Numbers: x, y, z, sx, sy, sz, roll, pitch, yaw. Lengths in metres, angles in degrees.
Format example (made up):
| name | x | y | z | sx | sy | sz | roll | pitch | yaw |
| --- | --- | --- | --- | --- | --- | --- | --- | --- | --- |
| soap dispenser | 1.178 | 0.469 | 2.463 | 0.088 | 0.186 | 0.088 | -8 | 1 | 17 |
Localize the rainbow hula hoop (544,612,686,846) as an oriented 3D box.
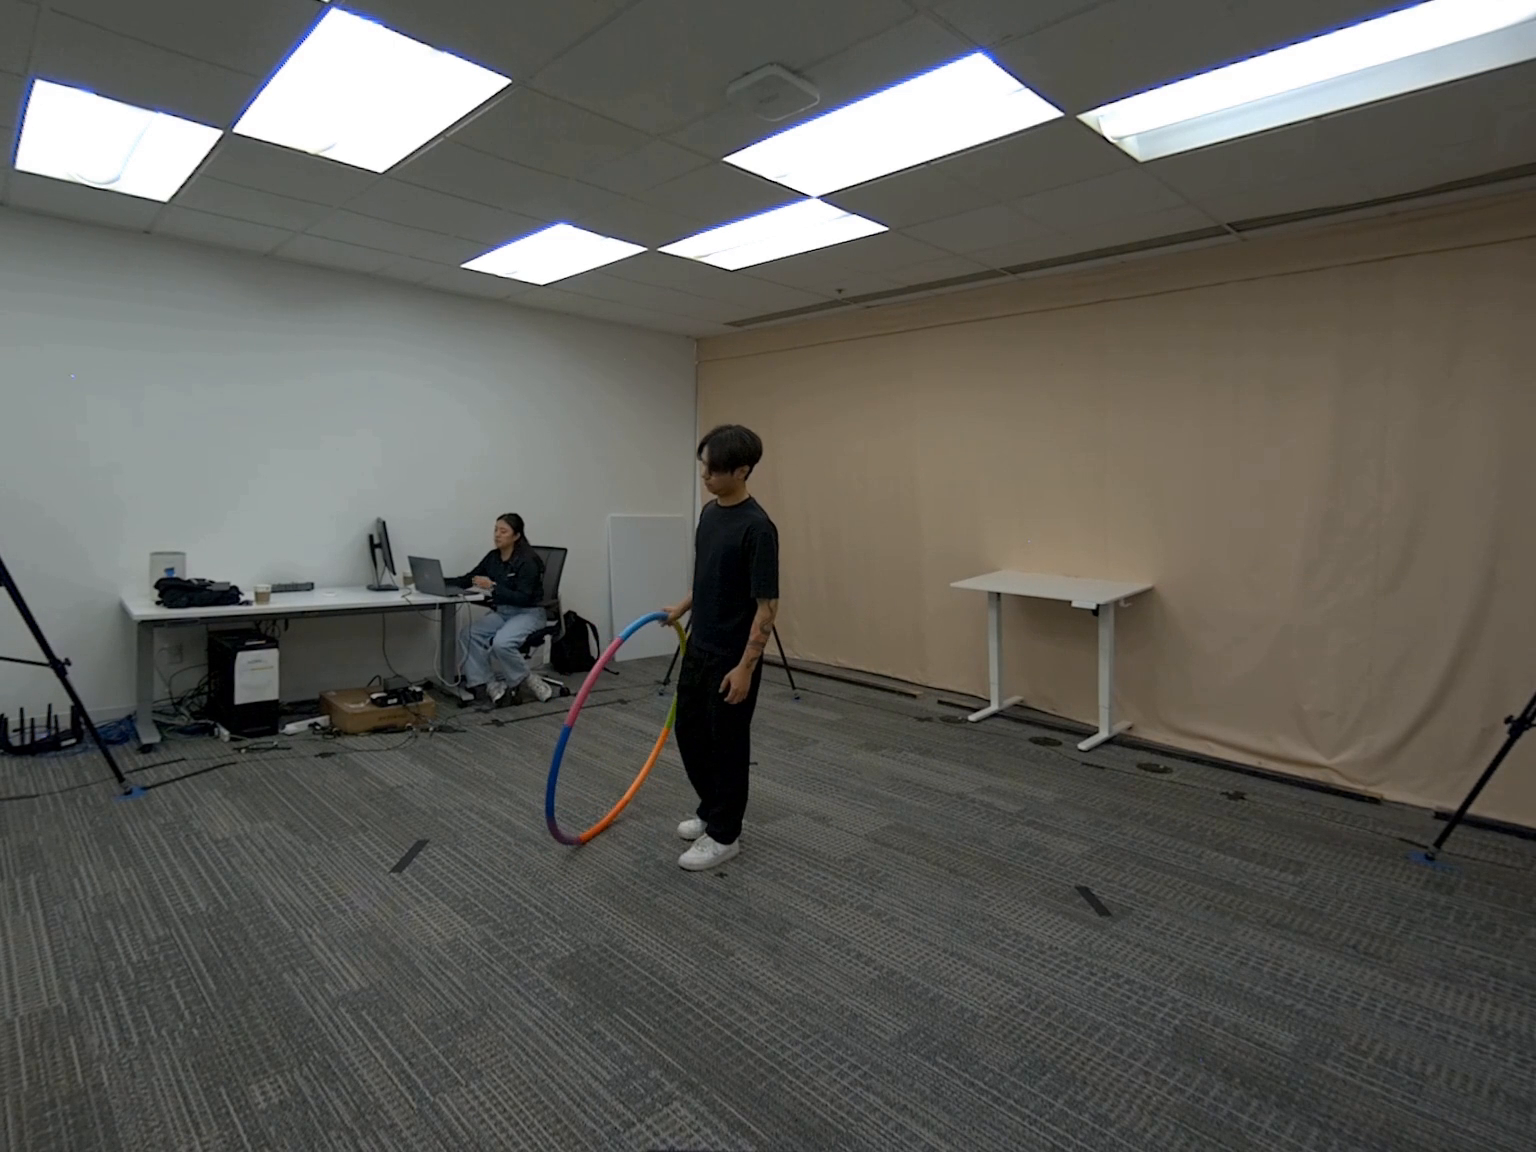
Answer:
| name | x | y | z | sx | sy | sz | roll | pitch | yaw |
| --- | --- | --- | --- | --- | --- | --- | --- | --- | --- |
| rainbow hula hoop | -0.587 | 0.600 | 3.366 | 0.036 | 0.974 | 0.966 | 20 | 10 | 16 |
